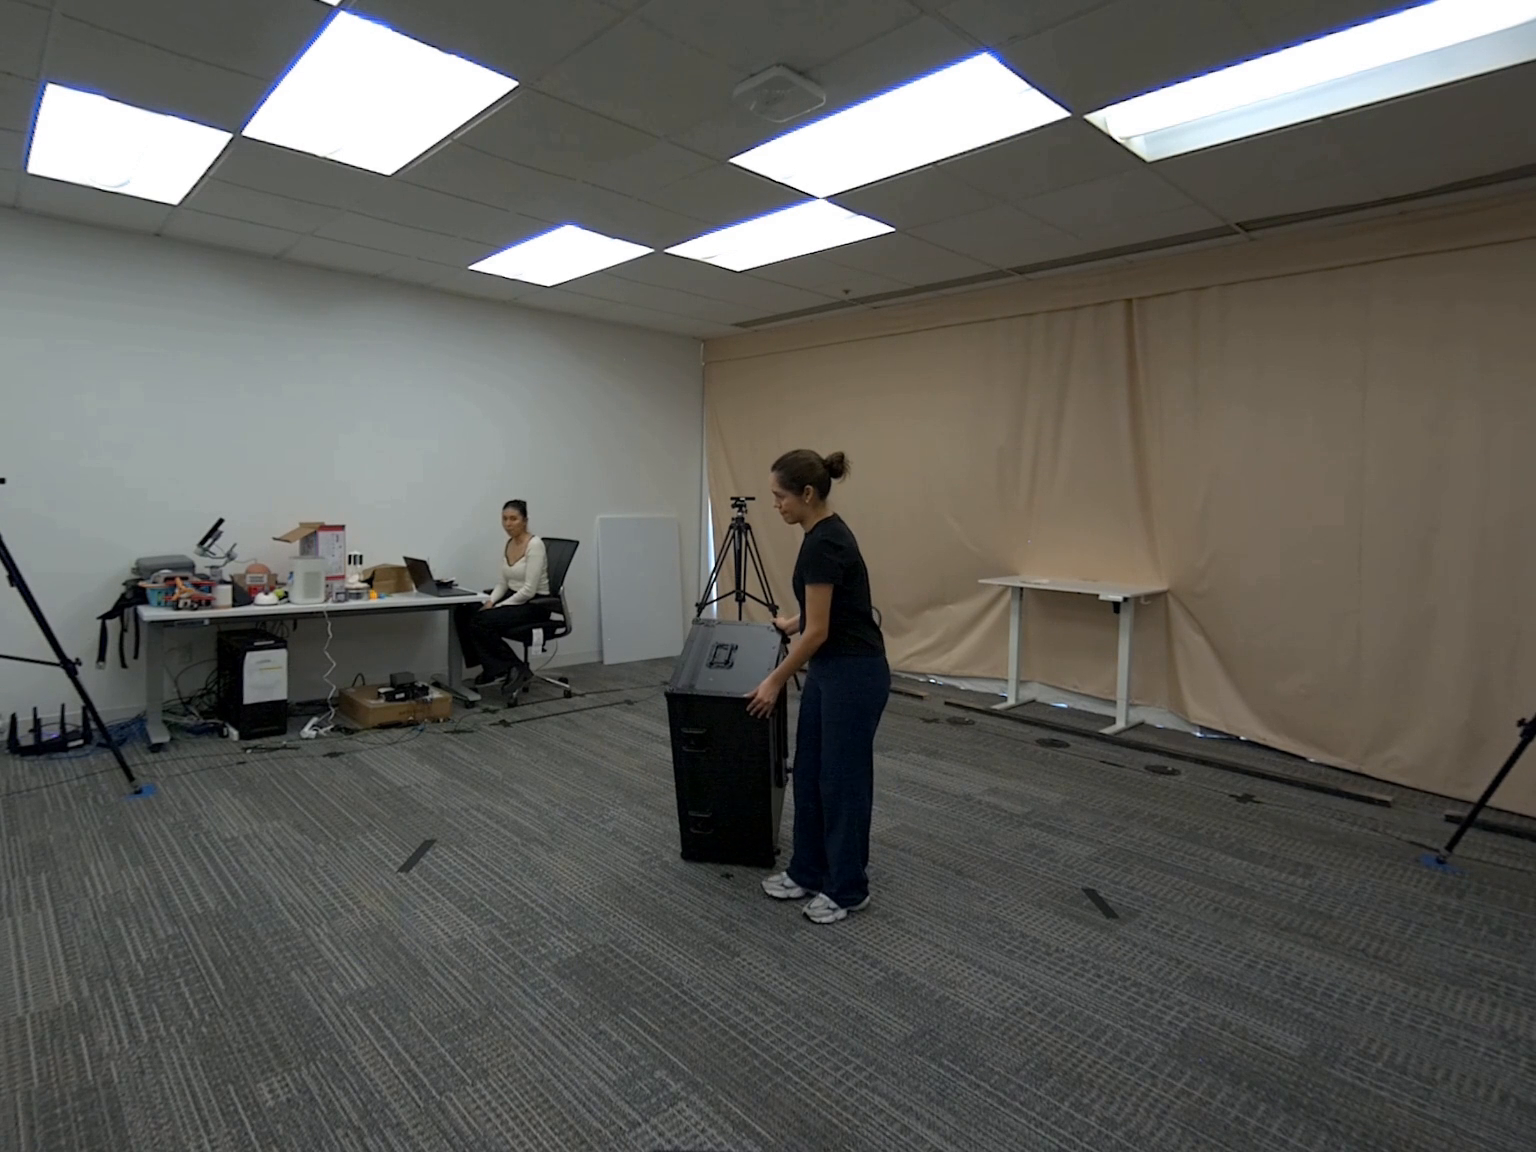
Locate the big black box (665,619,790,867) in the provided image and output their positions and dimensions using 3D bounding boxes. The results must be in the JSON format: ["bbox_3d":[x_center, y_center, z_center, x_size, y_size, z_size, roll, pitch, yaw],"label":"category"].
[{"bbox_3d":[-0.126,0.663,3.219,0.399,0.845,0.527,3,28,7],"label":"big black box"}]
